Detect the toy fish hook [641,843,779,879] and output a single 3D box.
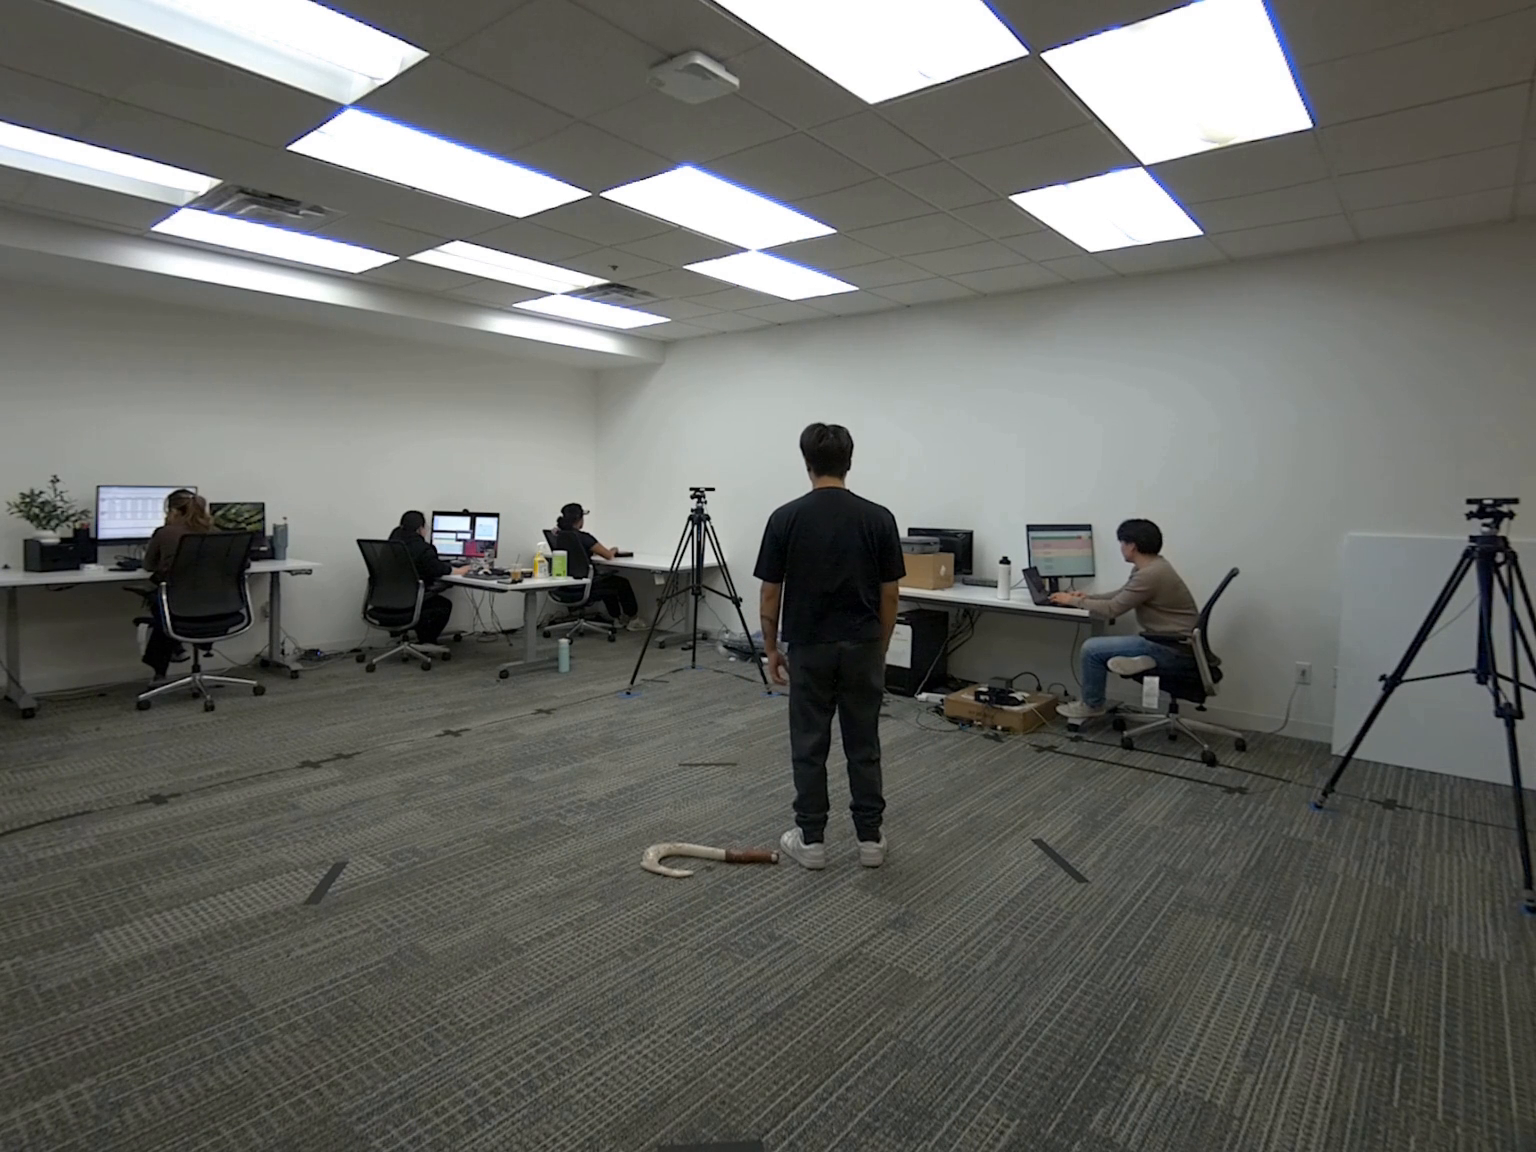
[{"bbox_3d":[-0.222,1.050,3.137,0.508,0.048,0.226,0,13,3],"label":"toy fish hook"}]
